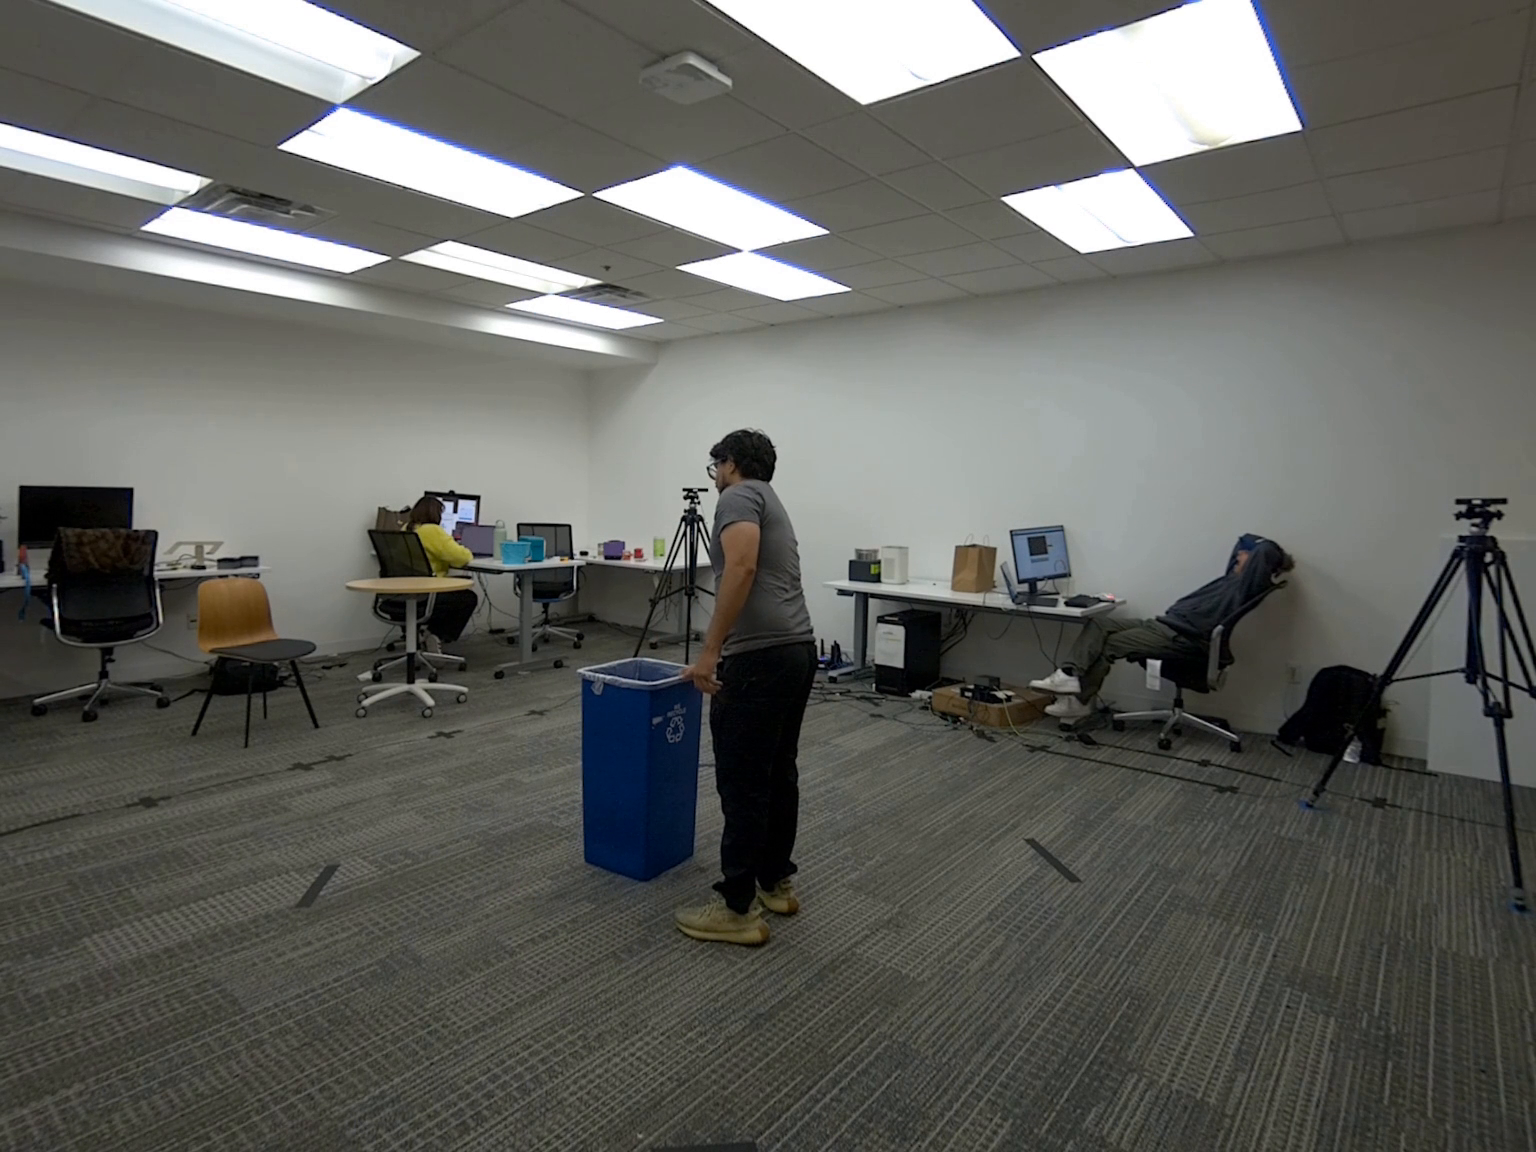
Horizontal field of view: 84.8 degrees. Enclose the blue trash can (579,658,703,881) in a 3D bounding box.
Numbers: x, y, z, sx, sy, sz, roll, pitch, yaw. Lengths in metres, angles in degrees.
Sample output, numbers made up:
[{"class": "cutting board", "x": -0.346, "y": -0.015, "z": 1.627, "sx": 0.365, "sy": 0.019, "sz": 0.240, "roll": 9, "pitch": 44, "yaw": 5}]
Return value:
[{"class": "blue trash can", "x": -0.483, "y": 0.698, "z": 3.191, "sx": 0.390, "sy": 0.712, "sz": 0.364, "roll": 3, "pitch": 4, "yaw": 33}]
